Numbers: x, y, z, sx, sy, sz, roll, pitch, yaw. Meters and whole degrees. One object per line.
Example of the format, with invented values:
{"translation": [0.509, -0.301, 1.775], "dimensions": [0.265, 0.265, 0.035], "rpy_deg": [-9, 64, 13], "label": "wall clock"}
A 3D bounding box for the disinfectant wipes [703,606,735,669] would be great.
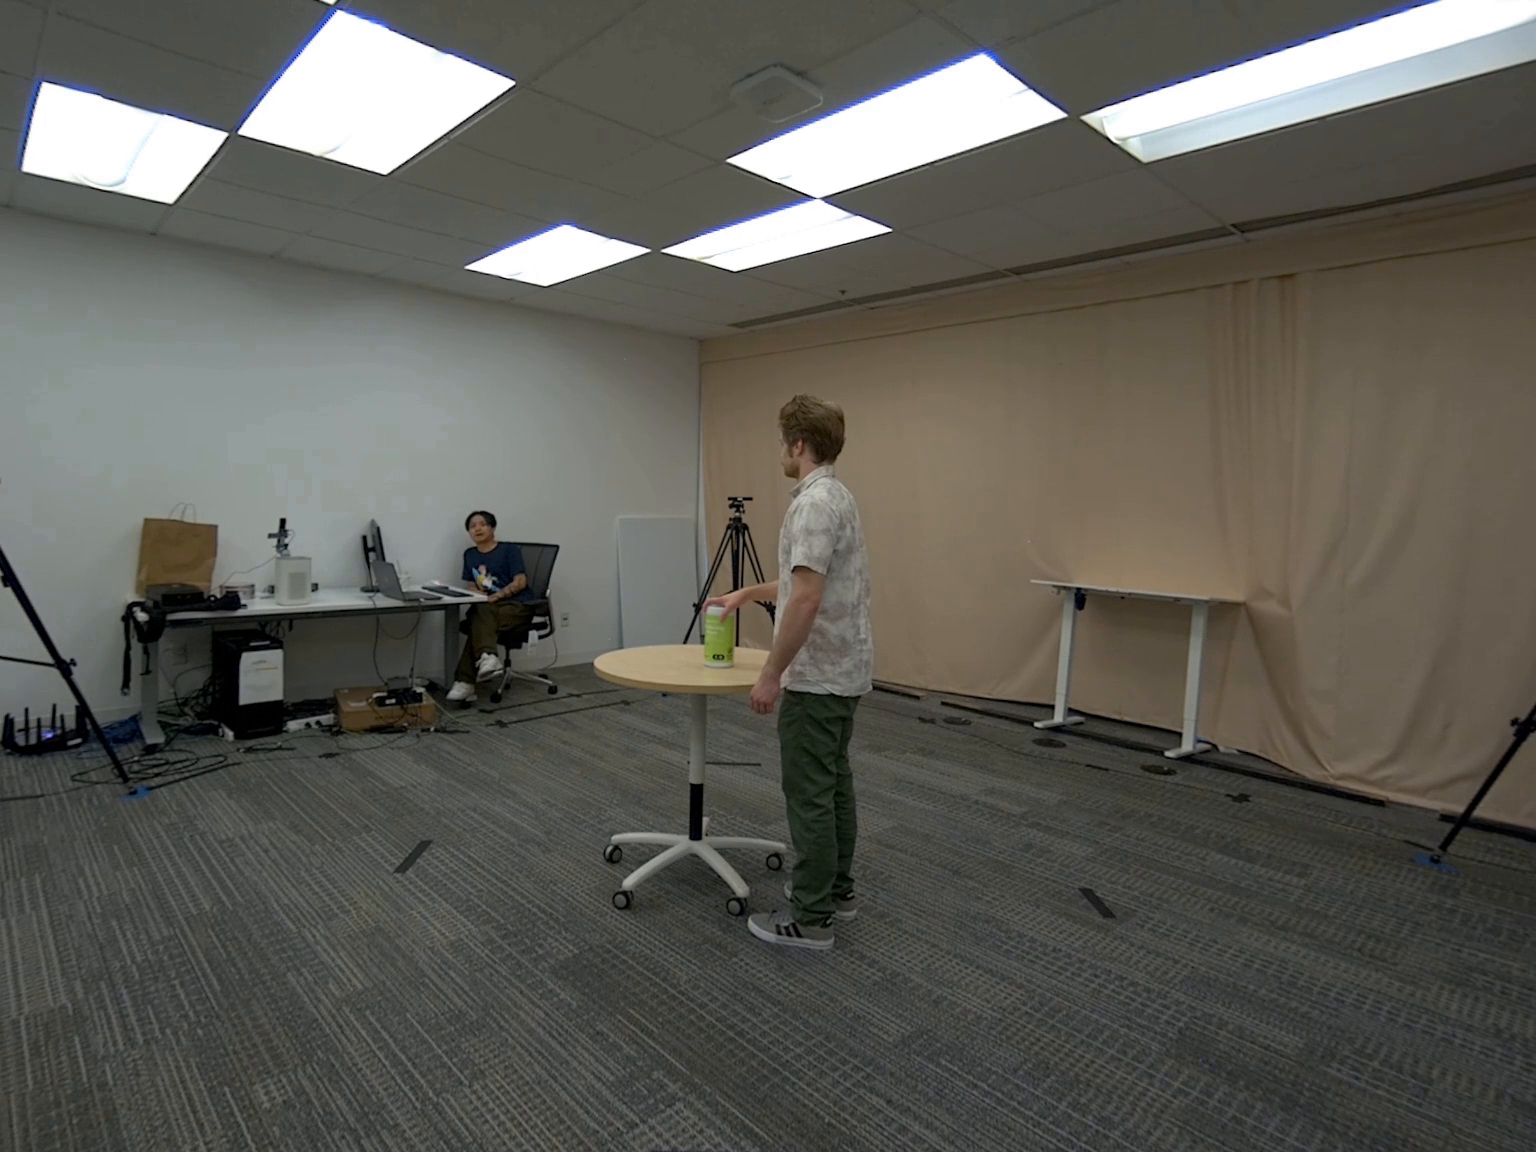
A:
{"translation": [-0.180, 0.220, 3.022], "dimensions": [0.118, 0.217, 0.118], "rpy_deg": [1, 4, -1], "label": "disinfectant wipes"}
